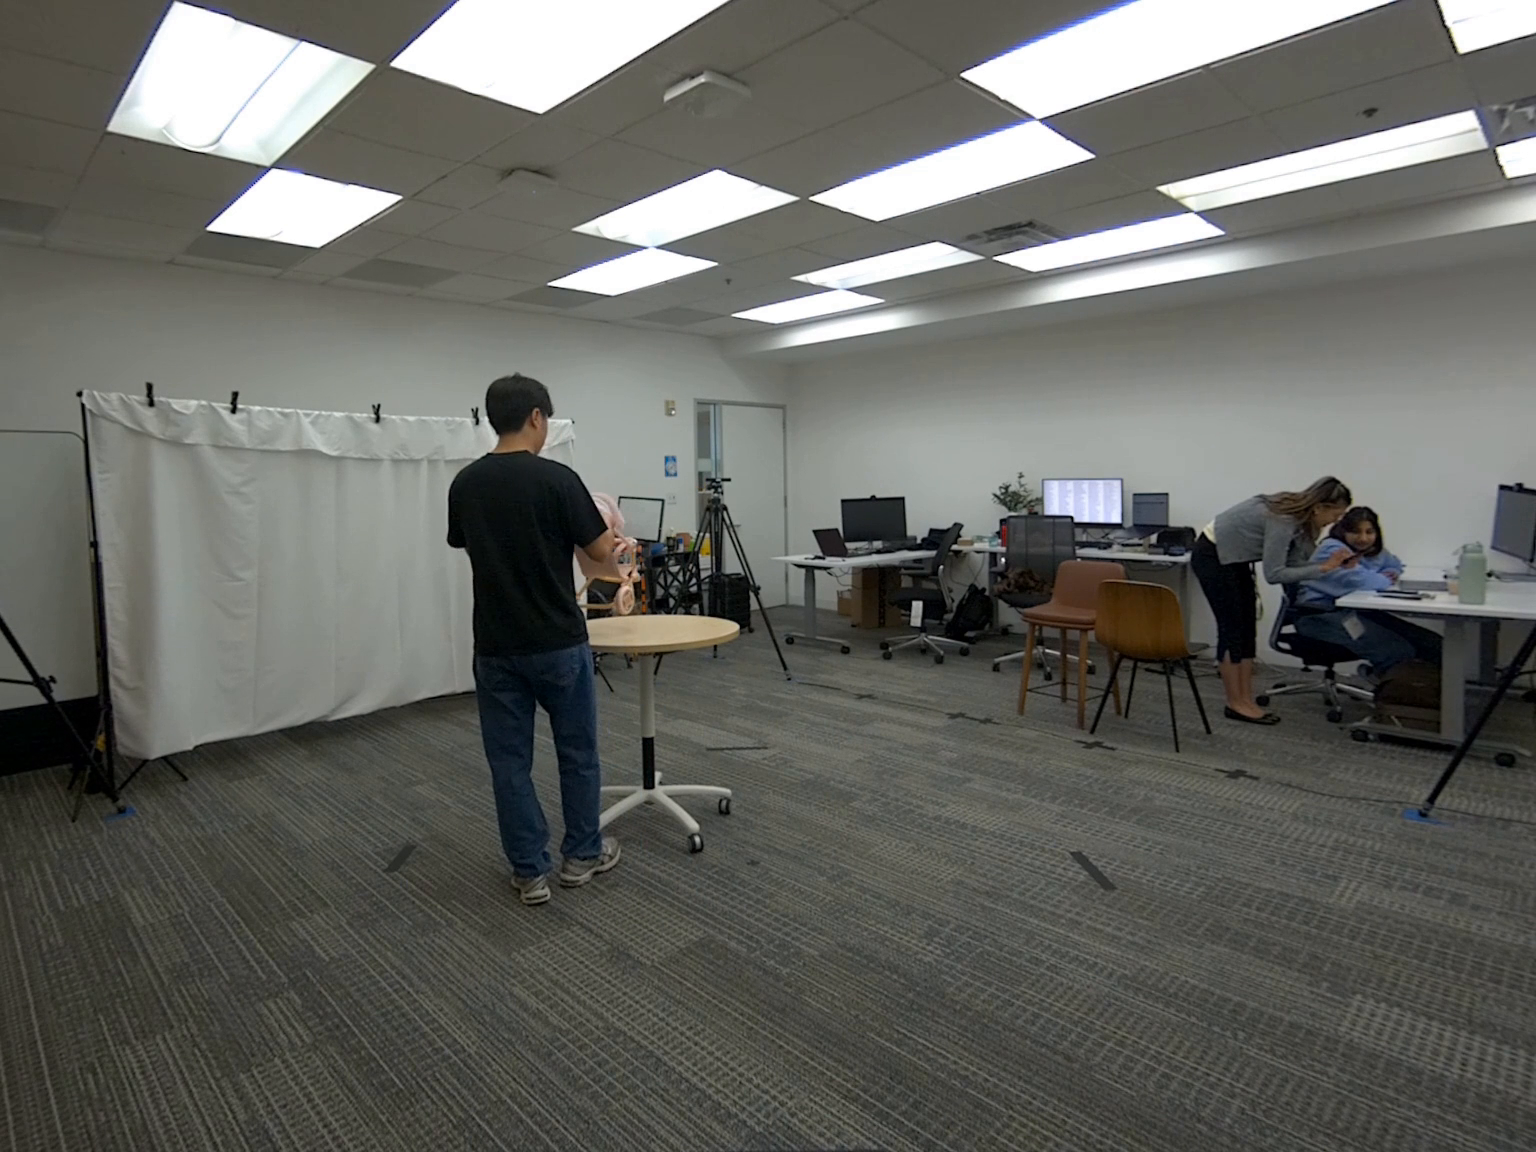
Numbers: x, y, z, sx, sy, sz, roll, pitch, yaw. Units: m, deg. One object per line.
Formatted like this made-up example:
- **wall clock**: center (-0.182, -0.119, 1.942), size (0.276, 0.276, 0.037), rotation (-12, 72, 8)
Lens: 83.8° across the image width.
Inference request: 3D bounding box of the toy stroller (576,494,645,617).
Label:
- **toy stroller**: center (-0.648, -0.087, 3.384), size (0.288, 0.524, 0.340), rotation (2, 24, 25)
